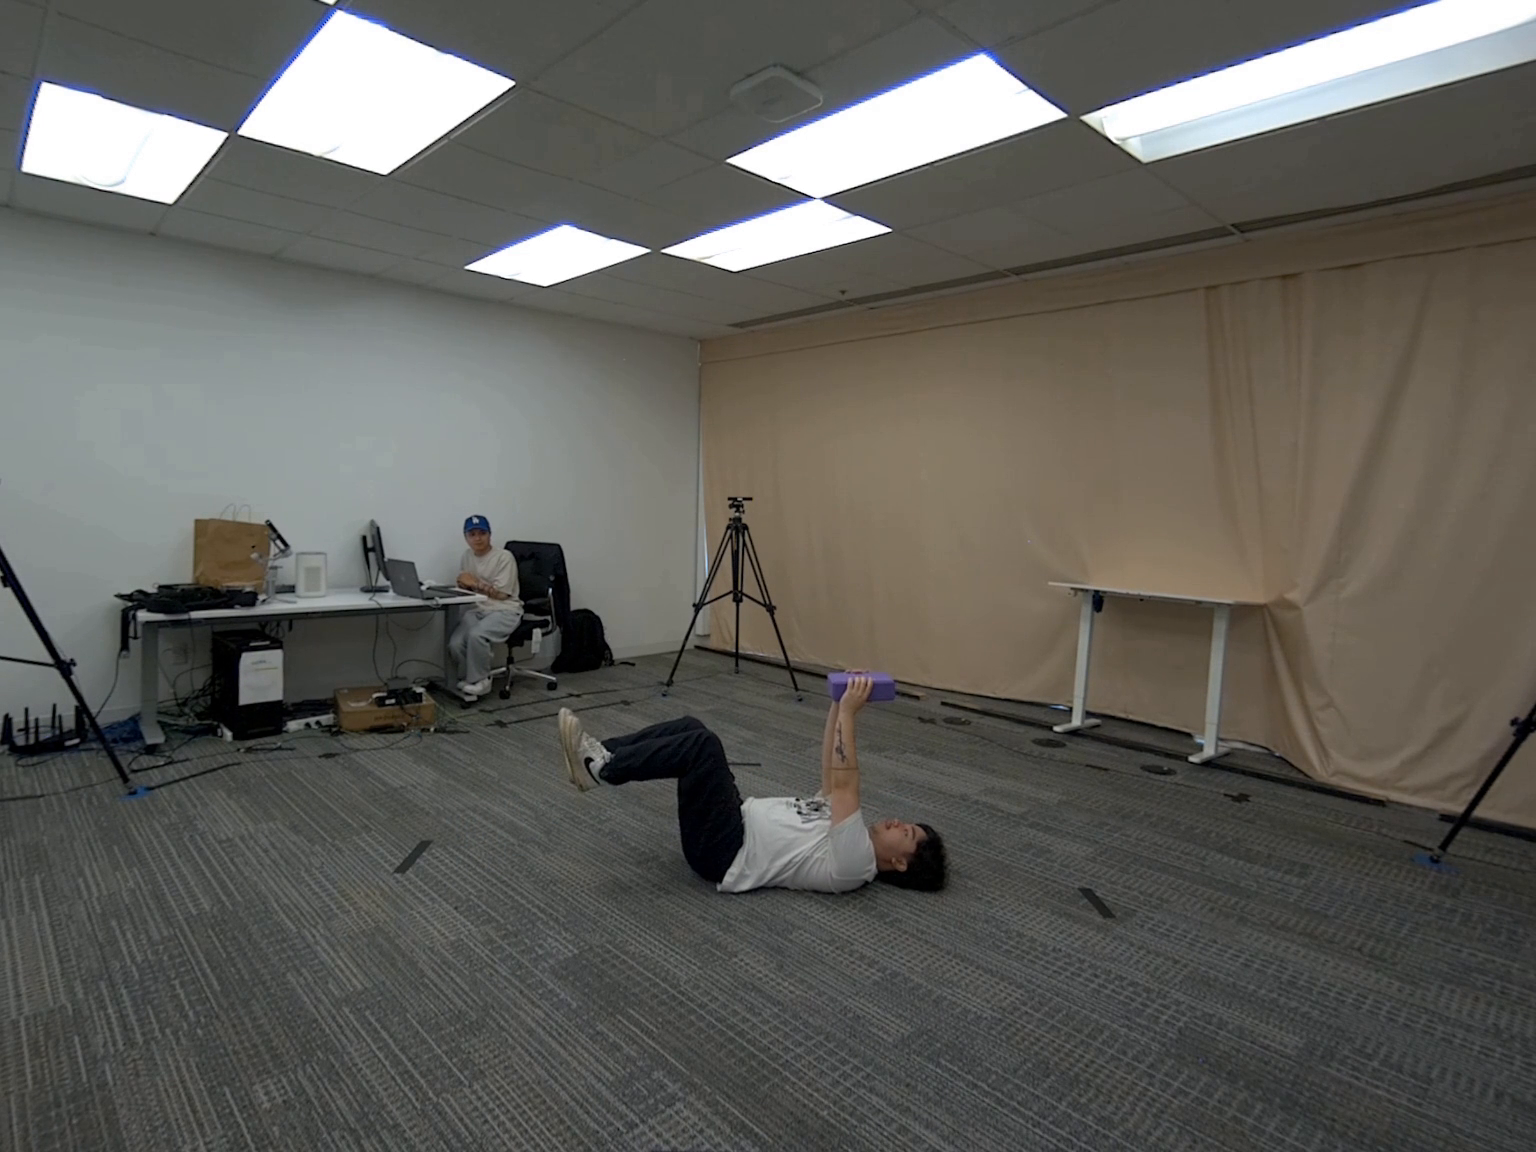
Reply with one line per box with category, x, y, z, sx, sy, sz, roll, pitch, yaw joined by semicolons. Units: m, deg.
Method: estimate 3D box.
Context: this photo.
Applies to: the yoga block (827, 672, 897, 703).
yoga block;0.342;0.412;3.106;0.229;0.076;0.149;0;5;1
